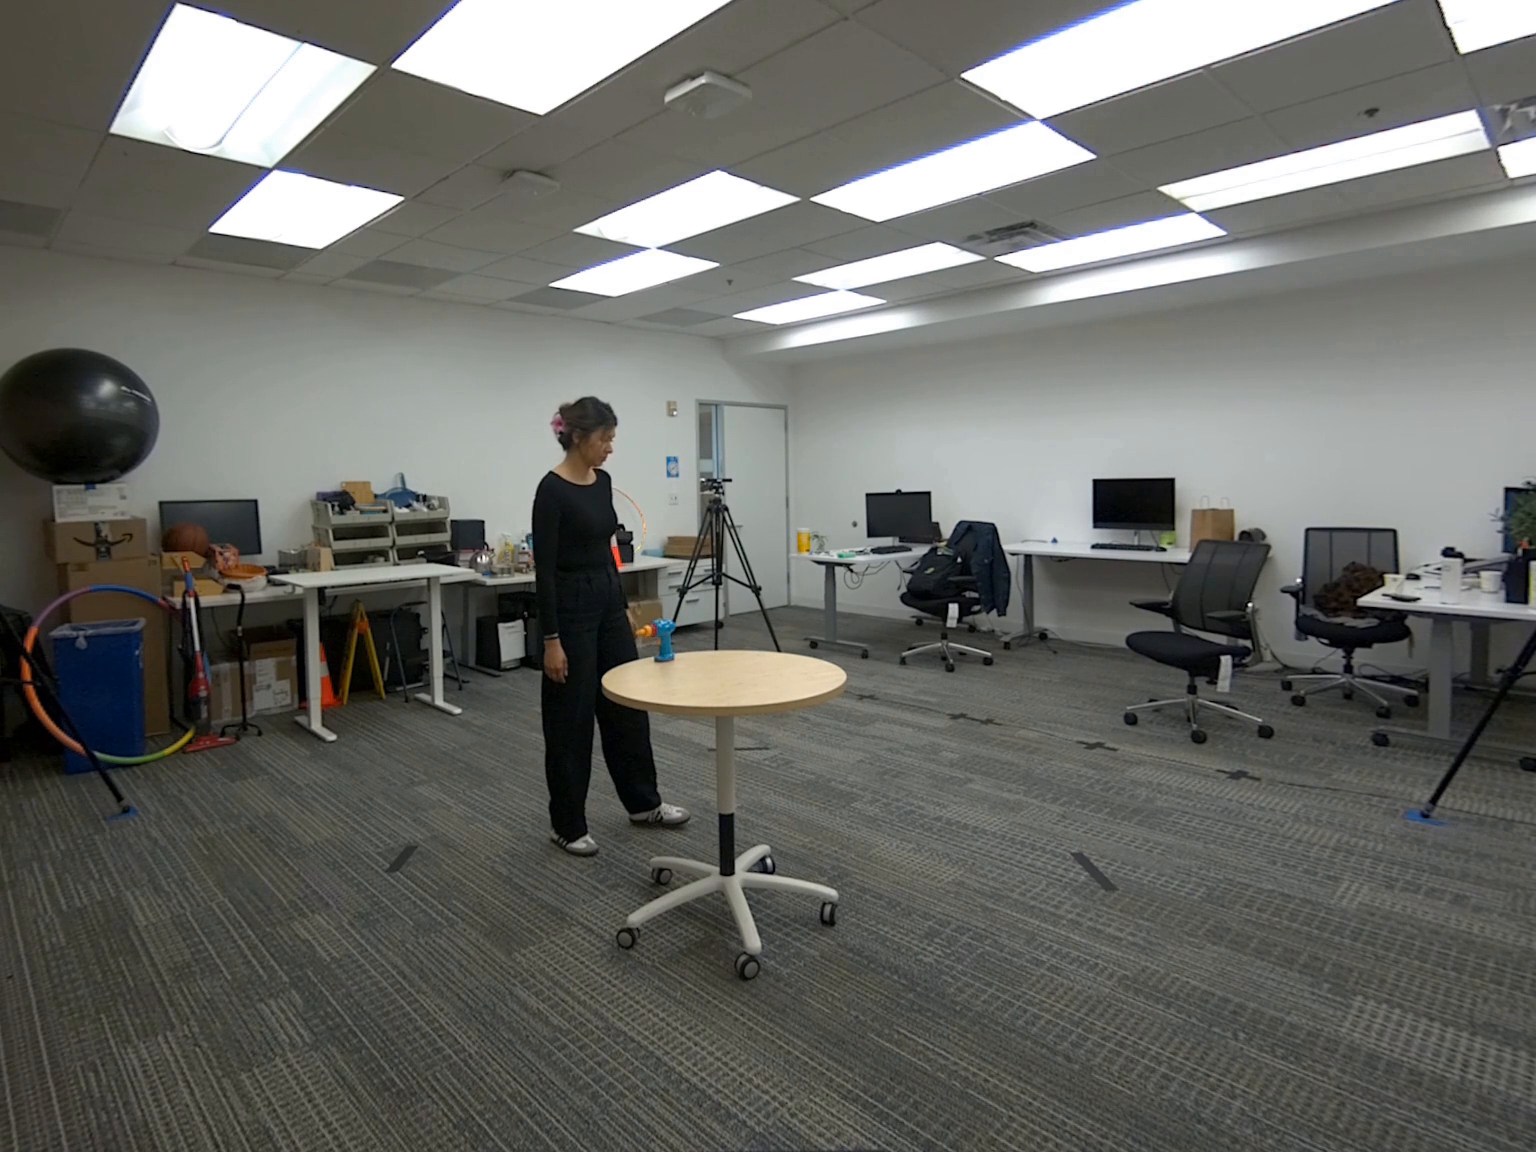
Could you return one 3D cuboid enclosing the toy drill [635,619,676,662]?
[{"bbox_3d":[-0.373,0.218,2.887,0.063,0.145,0.165,2,5,39],"label":"toy drill"}]
